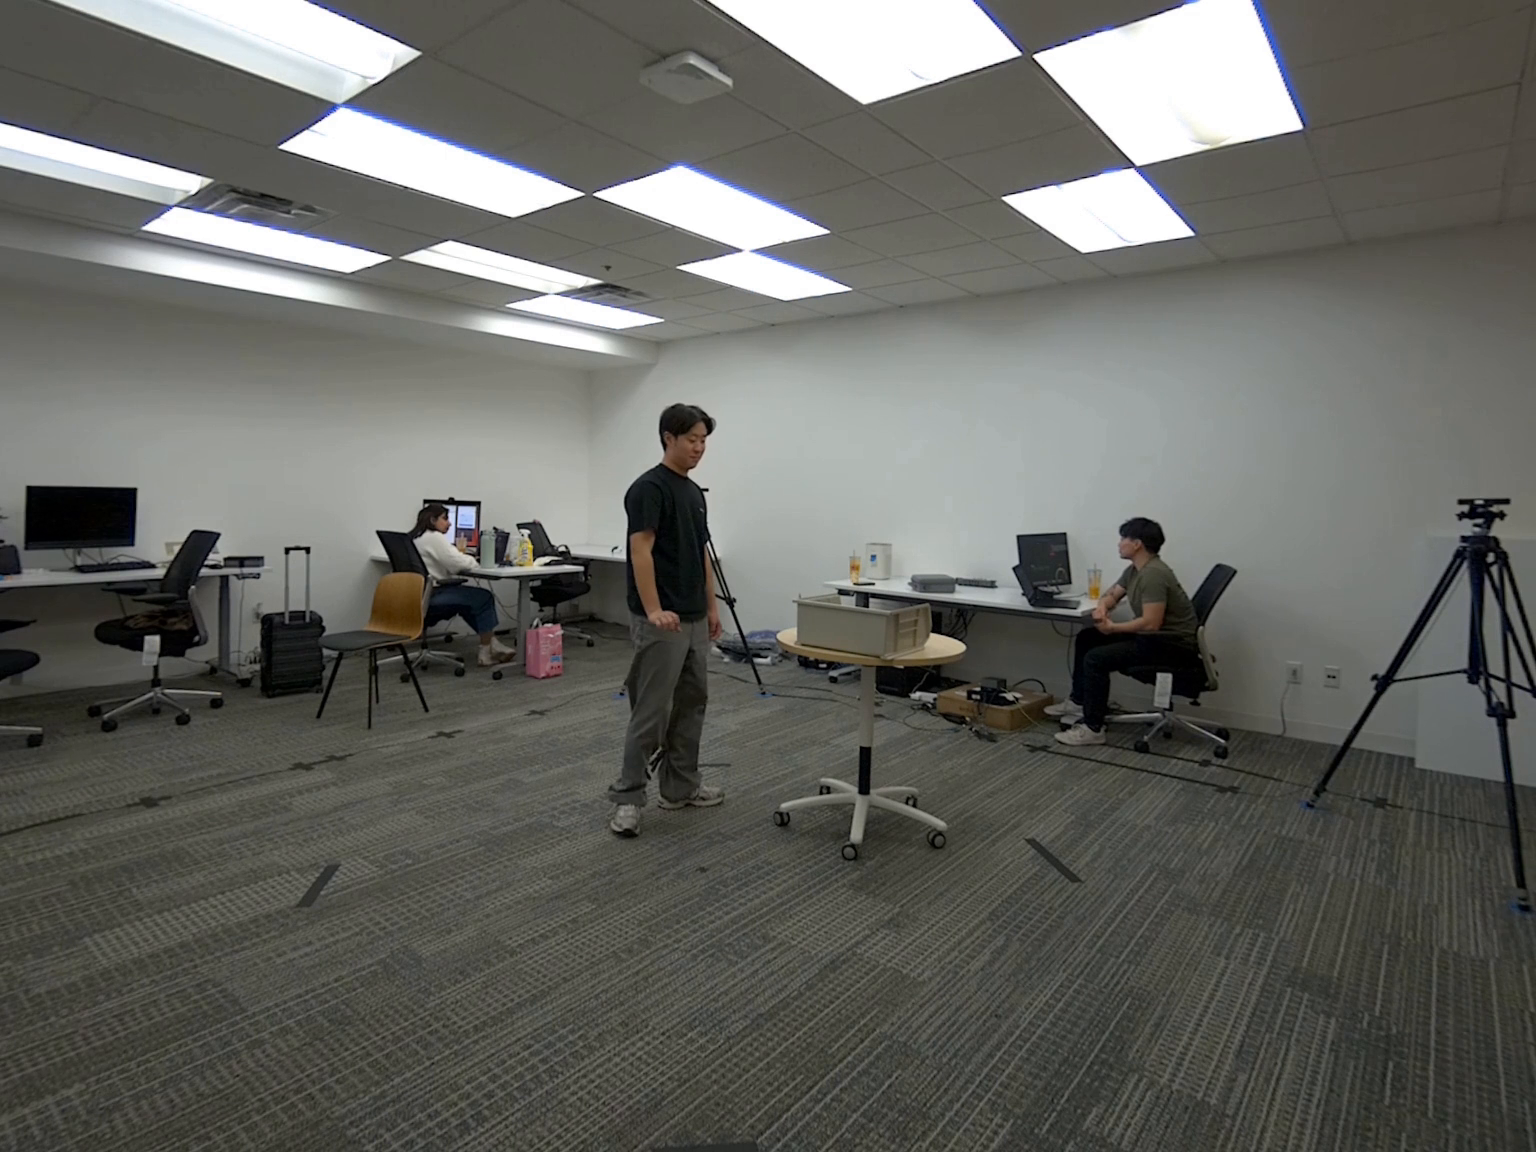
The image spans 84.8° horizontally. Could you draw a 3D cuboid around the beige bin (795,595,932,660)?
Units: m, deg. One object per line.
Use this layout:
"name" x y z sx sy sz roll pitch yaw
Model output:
"beige bin" 0.364 0.189 3.339 0.437 0.188 0.366 7 7 39
